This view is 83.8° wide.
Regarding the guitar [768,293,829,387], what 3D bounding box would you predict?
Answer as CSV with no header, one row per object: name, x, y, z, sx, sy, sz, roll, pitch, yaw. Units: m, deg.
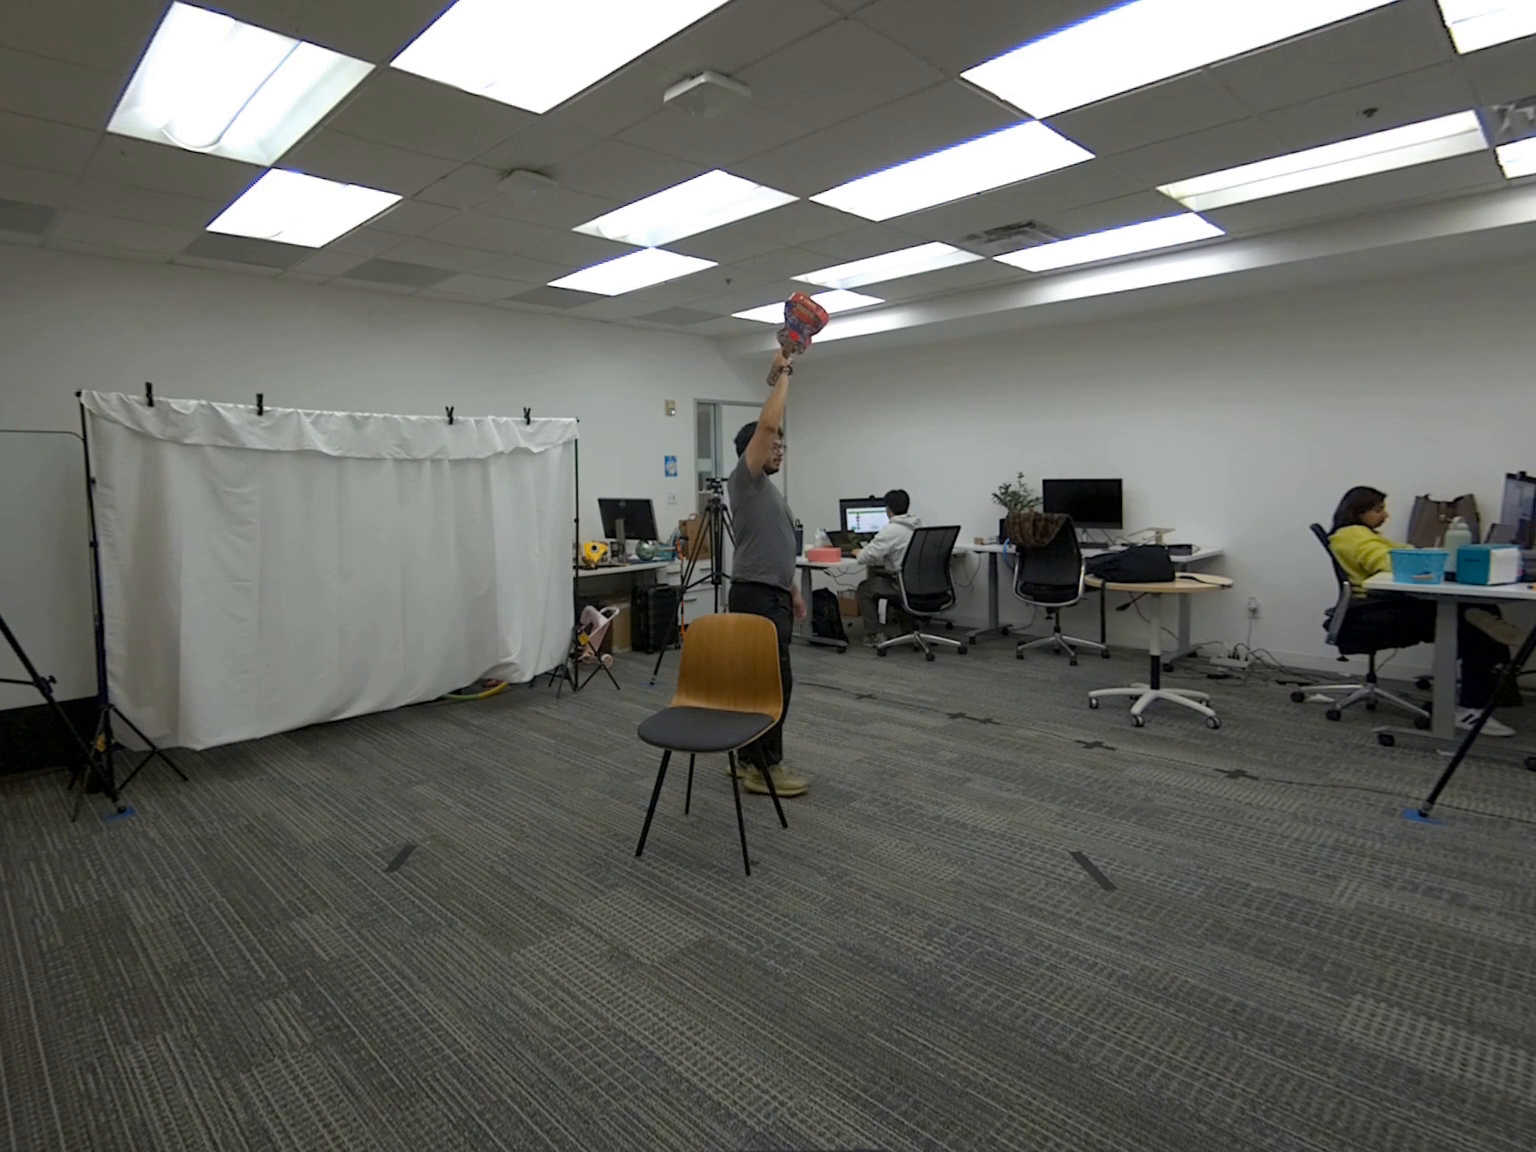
guitar,0.081,-1.033,3.750,0.071,0.193,0.497,-50,2,-33
